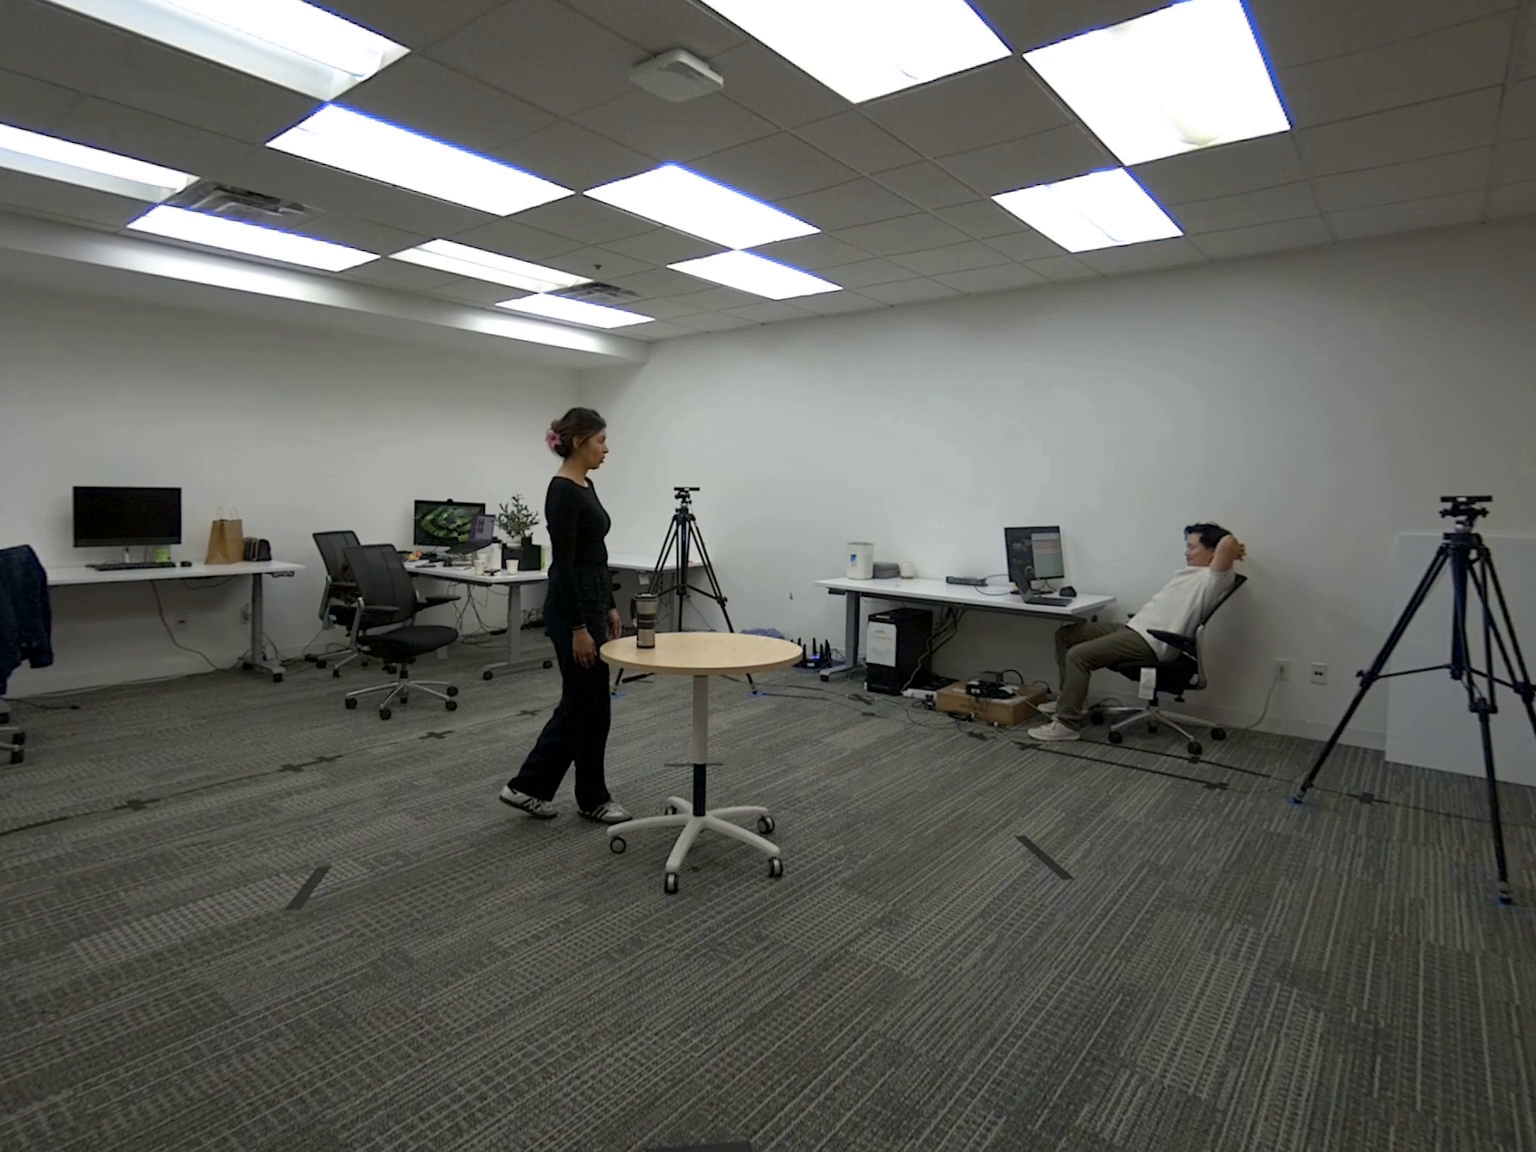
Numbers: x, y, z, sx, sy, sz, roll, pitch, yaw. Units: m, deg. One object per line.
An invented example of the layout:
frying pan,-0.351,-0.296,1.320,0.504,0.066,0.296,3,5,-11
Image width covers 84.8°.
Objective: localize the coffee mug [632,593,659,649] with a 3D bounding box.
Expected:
coffee mug,-0.487,0.166,3.246,0.085,0.201,0.126,-5,9,-33
